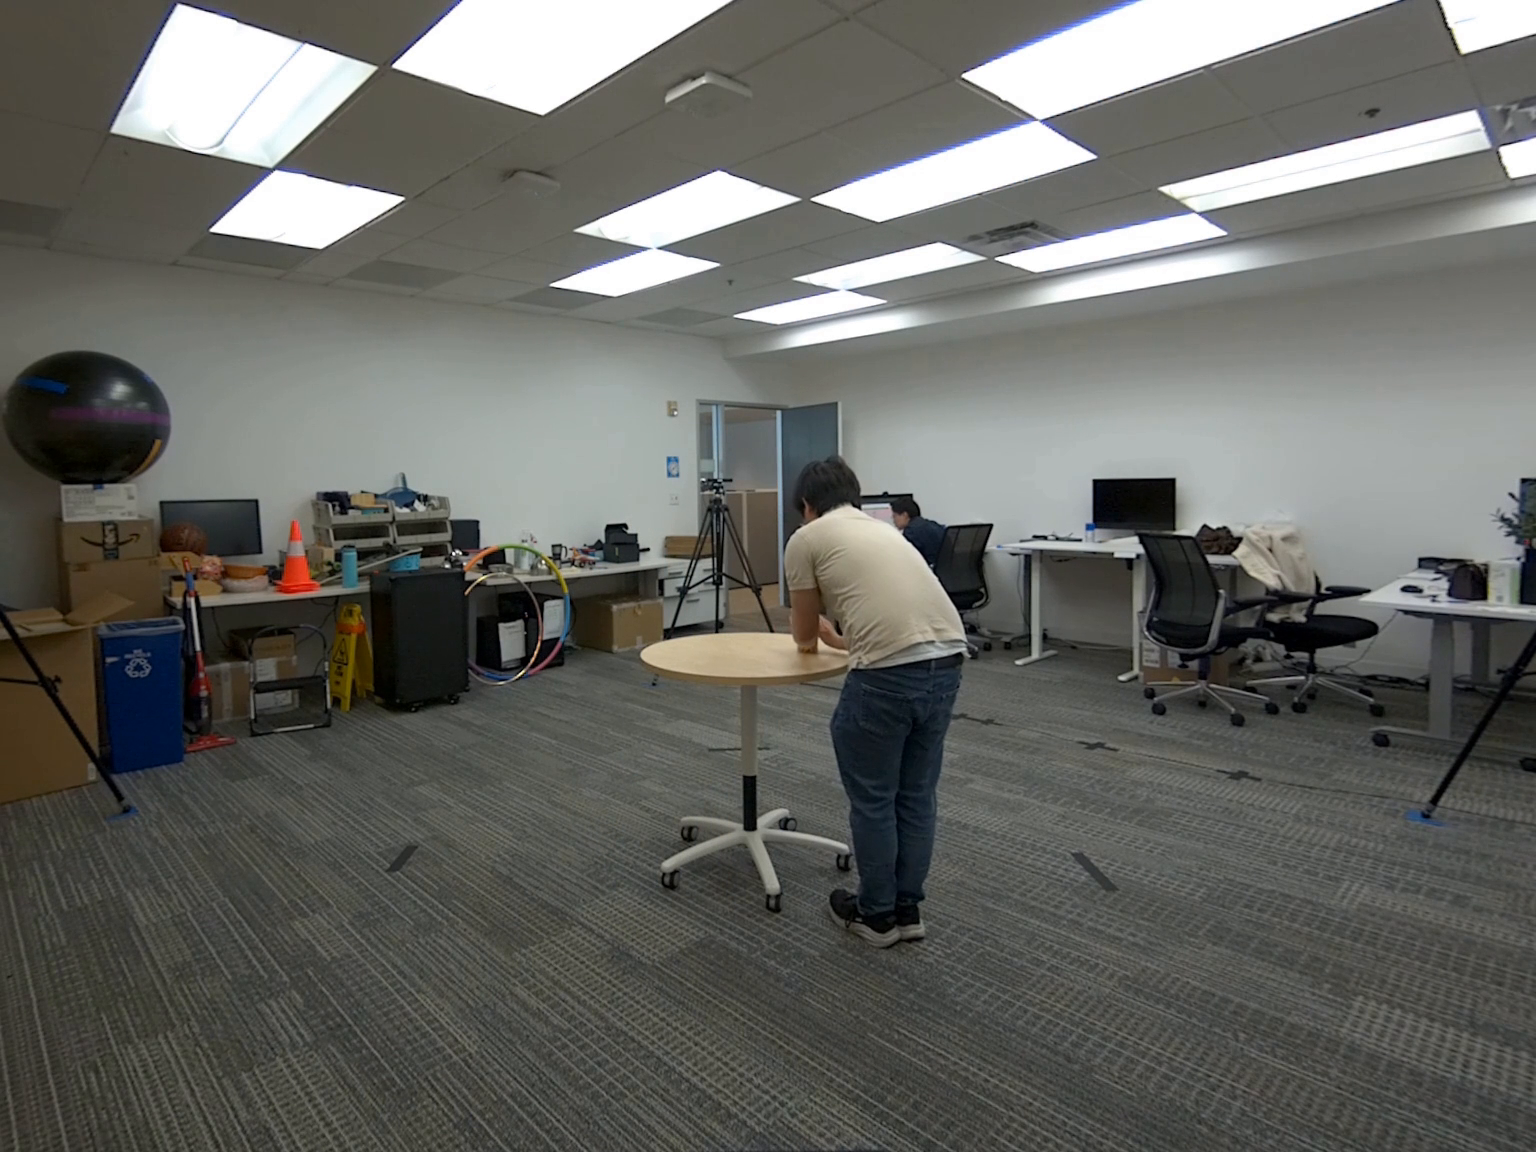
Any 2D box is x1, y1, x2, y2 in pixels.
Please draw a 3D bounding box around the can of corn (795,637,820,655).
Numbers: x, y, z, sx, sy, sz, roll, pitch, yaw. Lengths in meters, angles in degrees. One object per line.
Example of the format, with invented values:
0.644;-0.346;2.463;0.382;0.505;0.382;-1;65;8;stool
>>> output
0.151;0.213;3.040;0.074;0.111;0.074;2;1;-2;can of corn
